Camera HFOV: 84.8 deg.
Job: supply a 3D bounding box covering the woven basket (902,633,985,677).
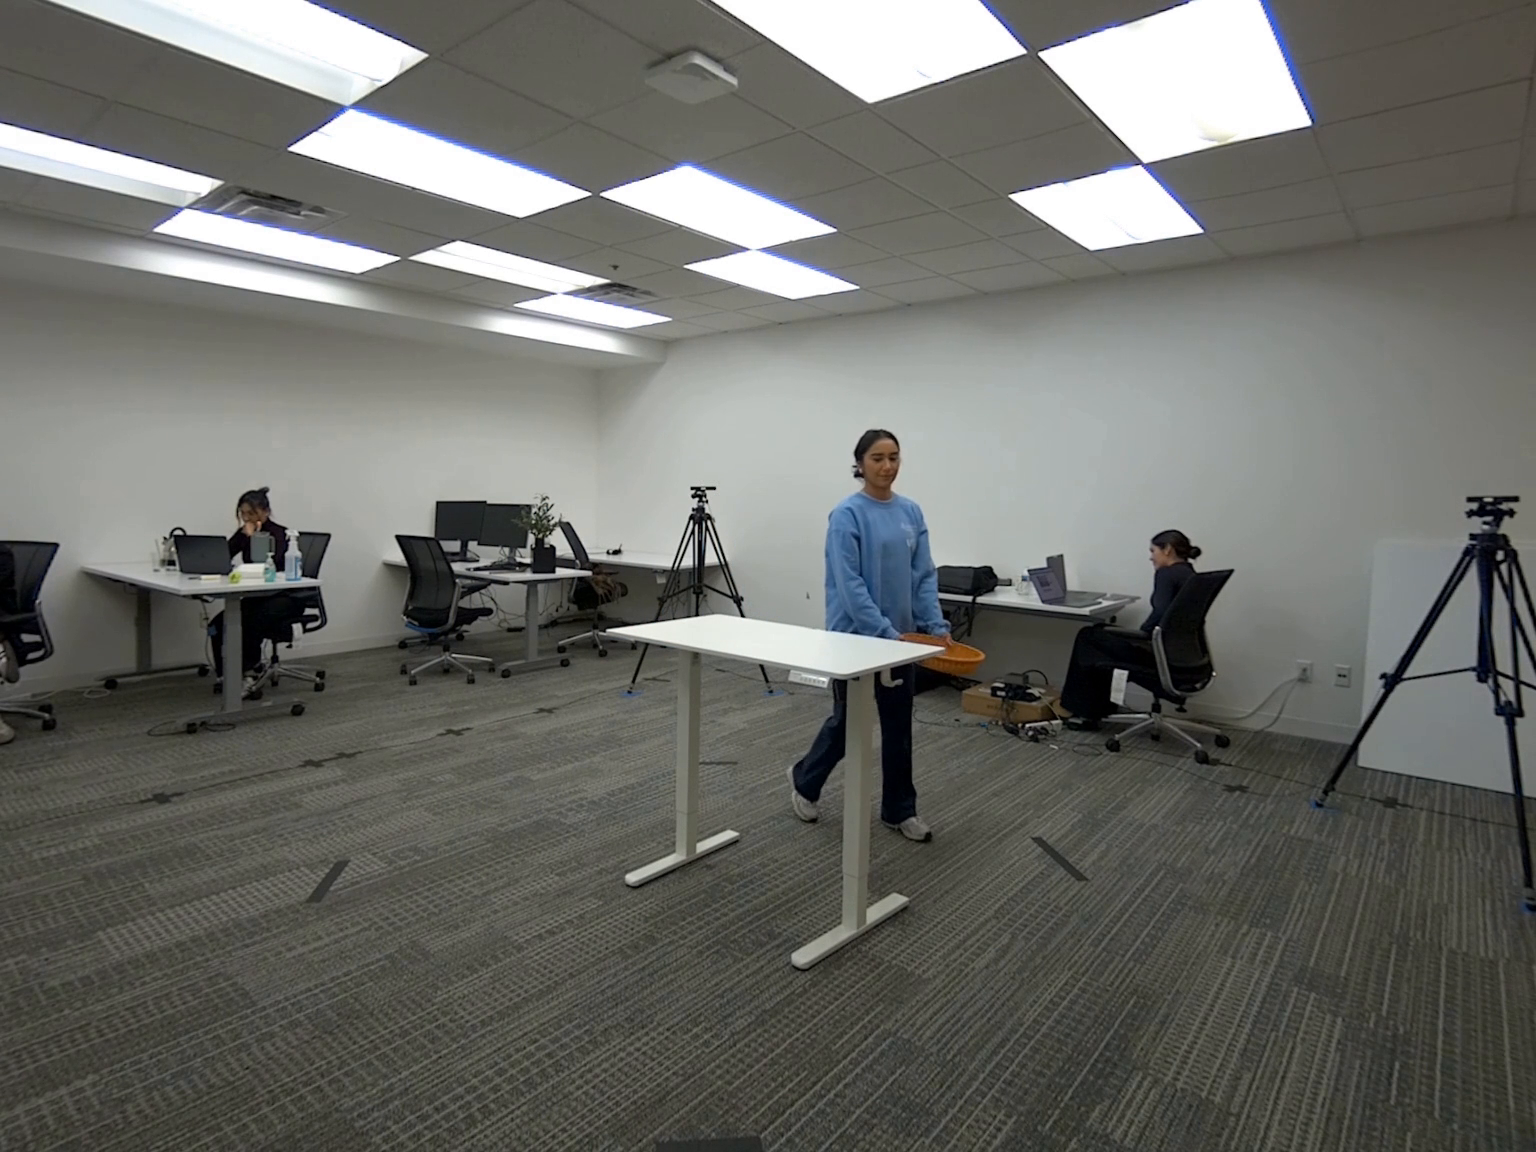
[{"bbox_3d":[0.624,0.294,3.227,0.362,0.073,0.246,14,13,31],"label":"woven basket"}]
